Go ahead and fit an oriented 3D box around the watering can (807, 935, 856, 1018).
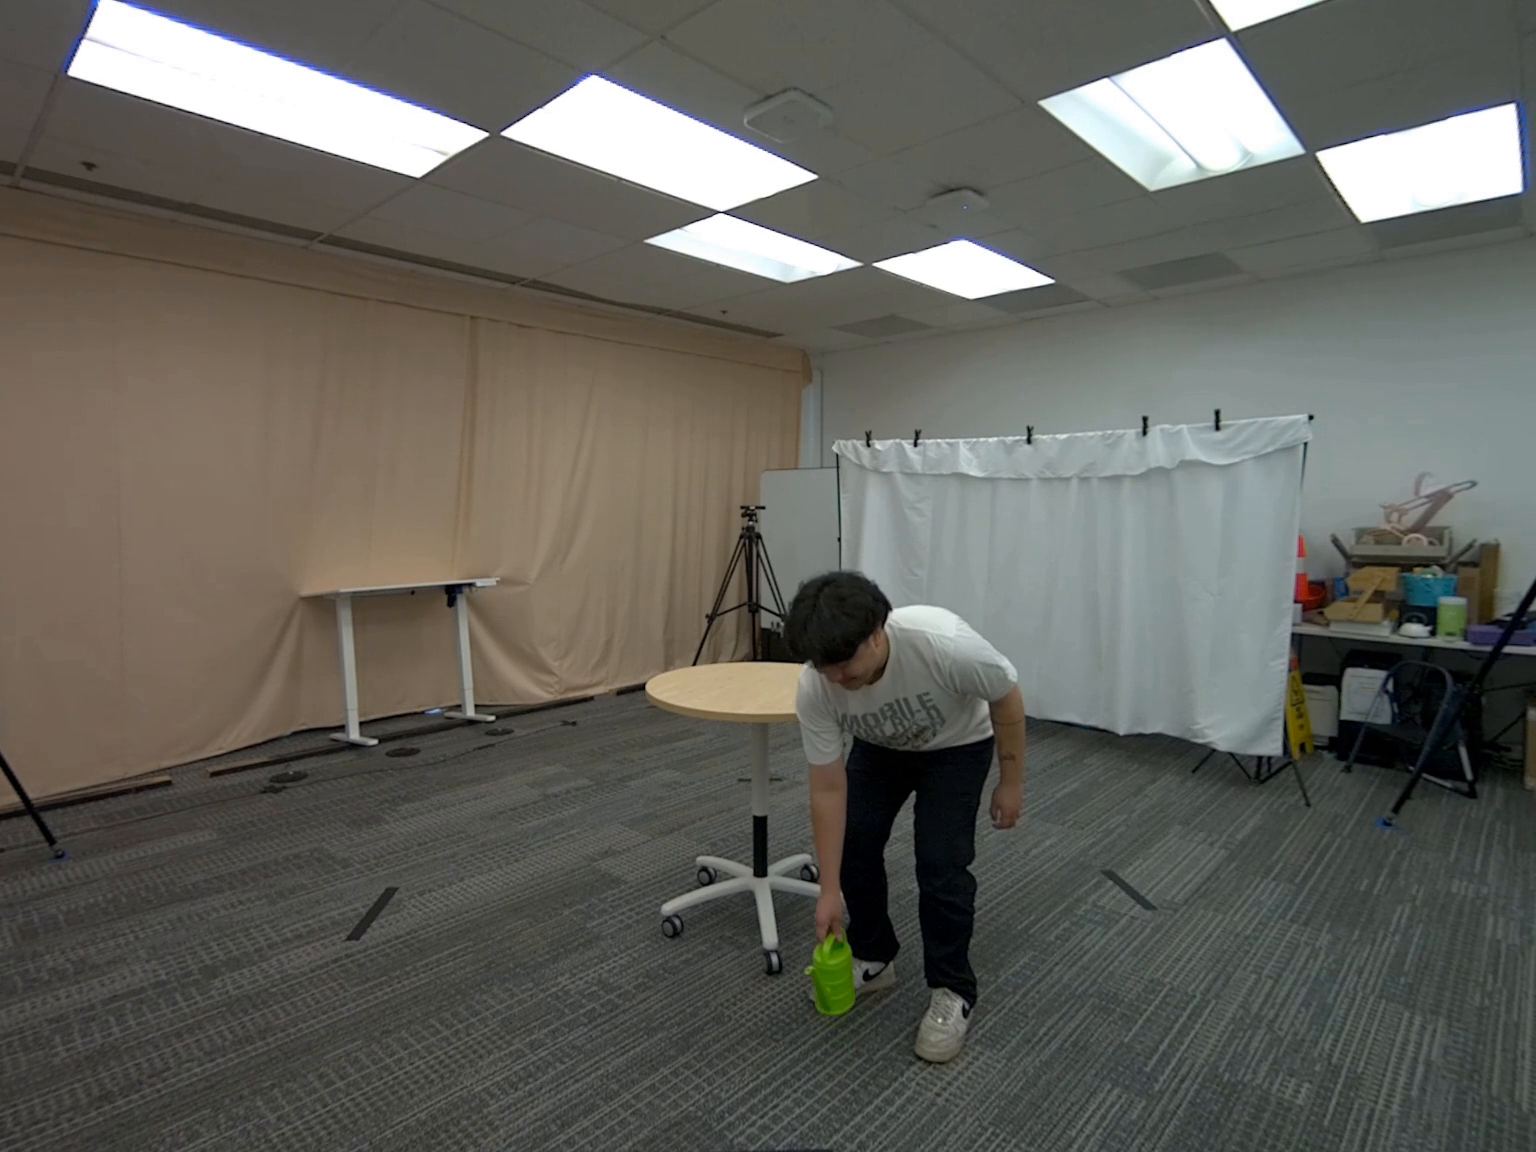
[{"bbox_3d":[0.148,1.002,2.073,0.101,0.177,0.270,-5,1,33],"label":"watering can"}]
